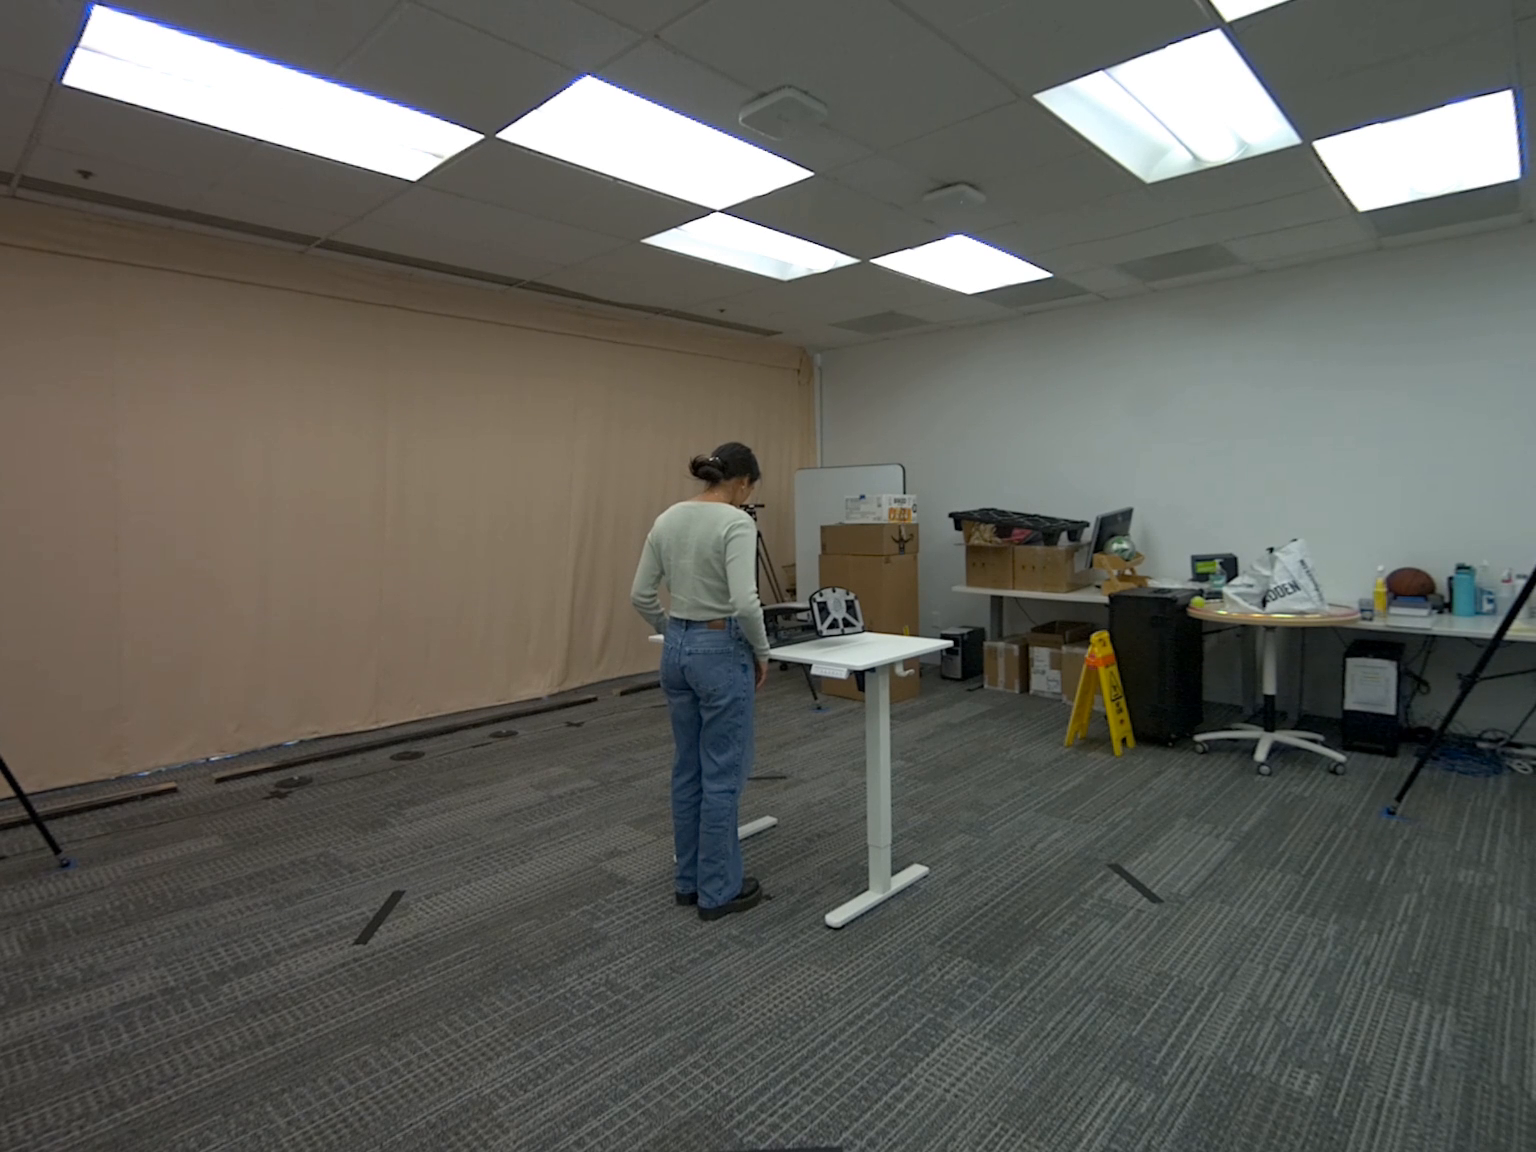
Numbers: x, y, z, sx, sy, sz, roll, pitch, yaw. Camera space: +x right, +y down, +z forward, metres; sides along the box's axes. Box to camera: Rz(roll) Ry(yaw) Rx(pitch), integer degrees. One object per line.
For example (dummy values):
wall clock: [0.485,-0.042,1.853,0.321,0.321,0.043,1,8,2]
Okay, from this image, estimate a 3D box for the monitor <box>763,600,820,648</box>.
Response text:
monitor: [0.070,0.181,3.169,0.536,0.188,0.522,-15,-10,42]
